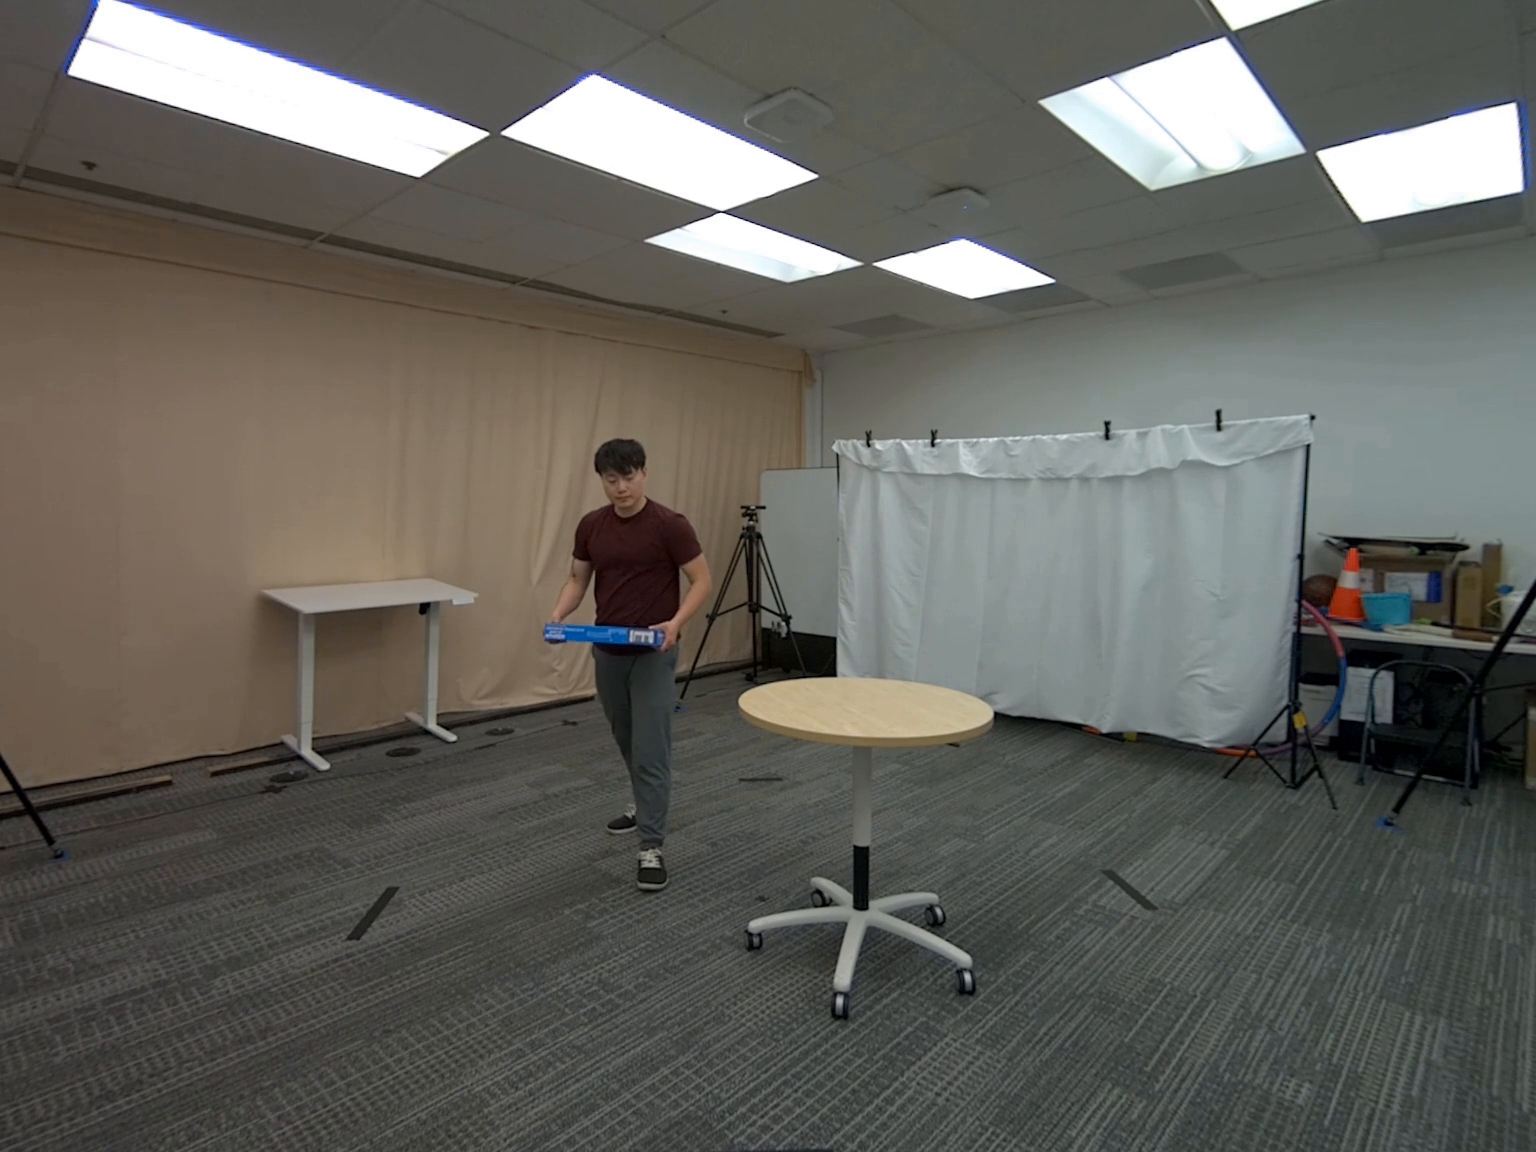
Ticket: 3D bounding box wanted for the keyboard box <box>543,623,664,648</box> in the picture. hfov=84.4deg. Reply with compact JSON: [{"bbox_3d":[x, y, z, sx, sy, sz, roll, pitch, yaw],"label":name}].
[{"bbox_3d":[-0.599,0.218,3.144,0.445,0.059,0.172,2,-7,17],"label":"keyboard box"}]
